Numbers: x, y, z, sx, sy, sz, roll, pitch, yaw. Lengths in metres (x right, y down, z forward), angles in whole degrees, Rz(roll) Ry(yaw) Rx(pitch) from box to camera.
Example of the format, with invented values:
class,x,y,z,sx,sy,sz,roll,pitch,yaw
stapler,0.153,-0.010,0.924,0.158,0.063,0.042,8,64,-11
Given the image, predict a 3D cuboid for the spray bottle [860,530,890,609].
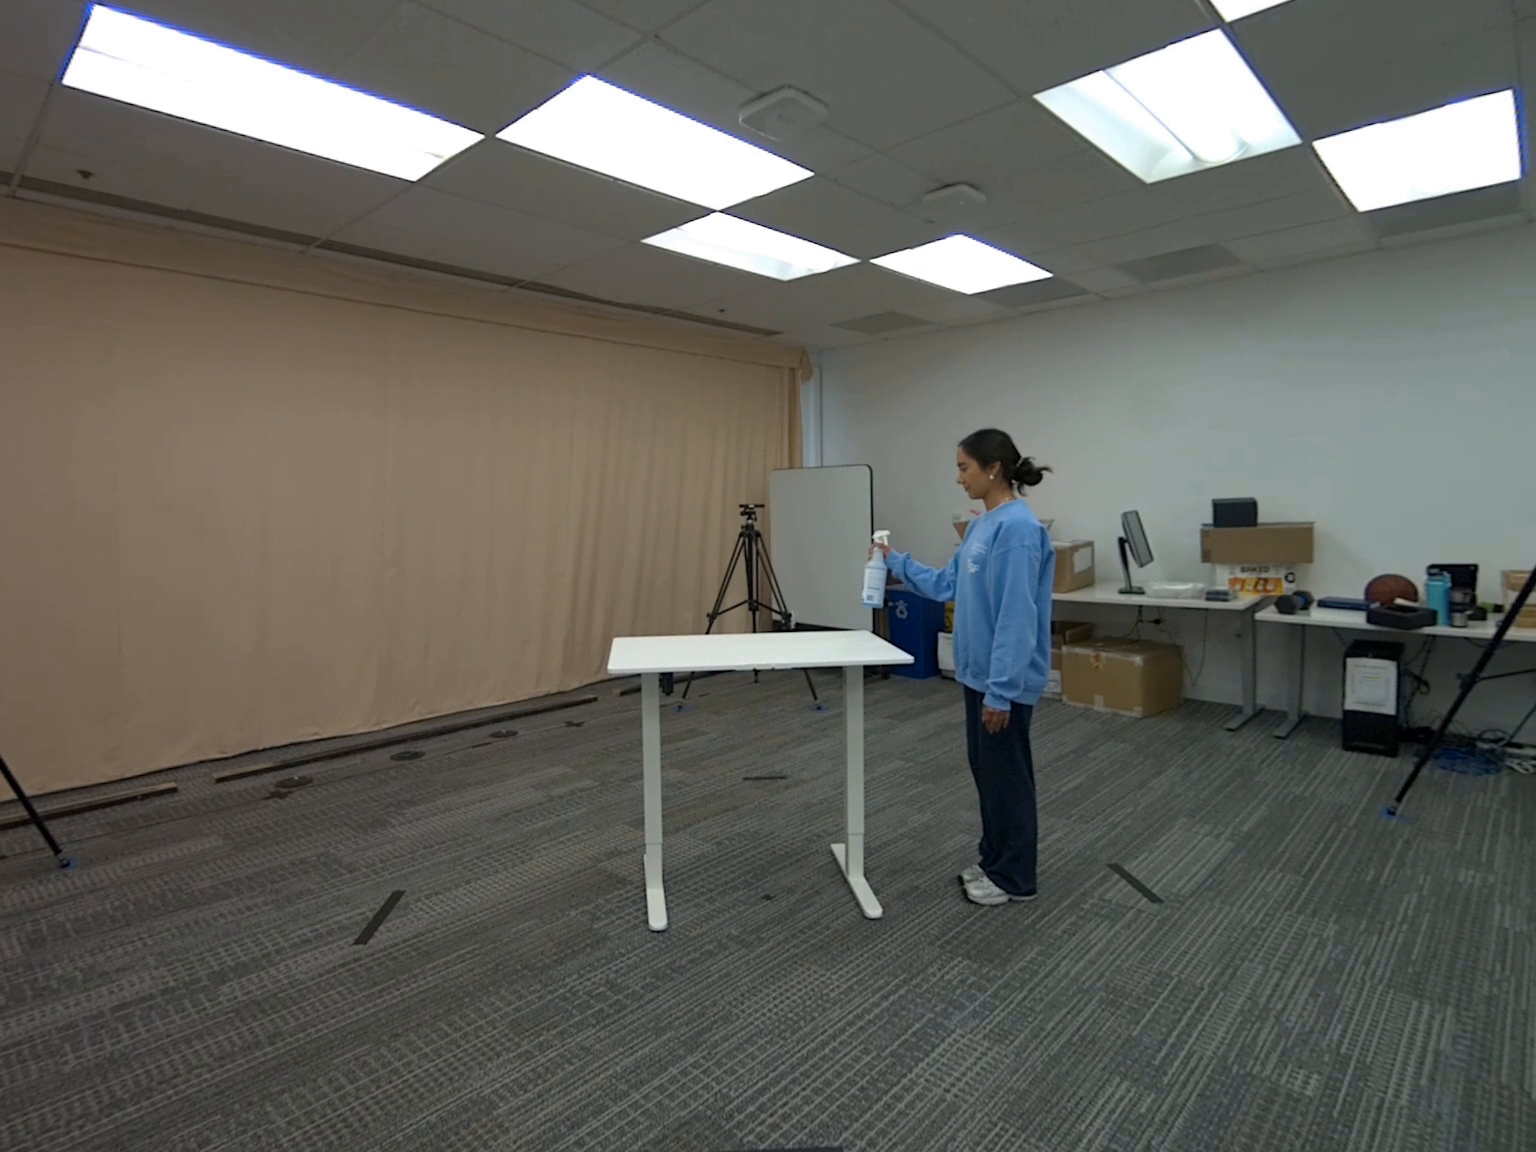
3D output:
class,x,y,z,sx,sy,sz,roll,pitch,yaw
spray bottle,0.425,-0.024,3.244,0.087,0.297,0.090,5,1,-4
